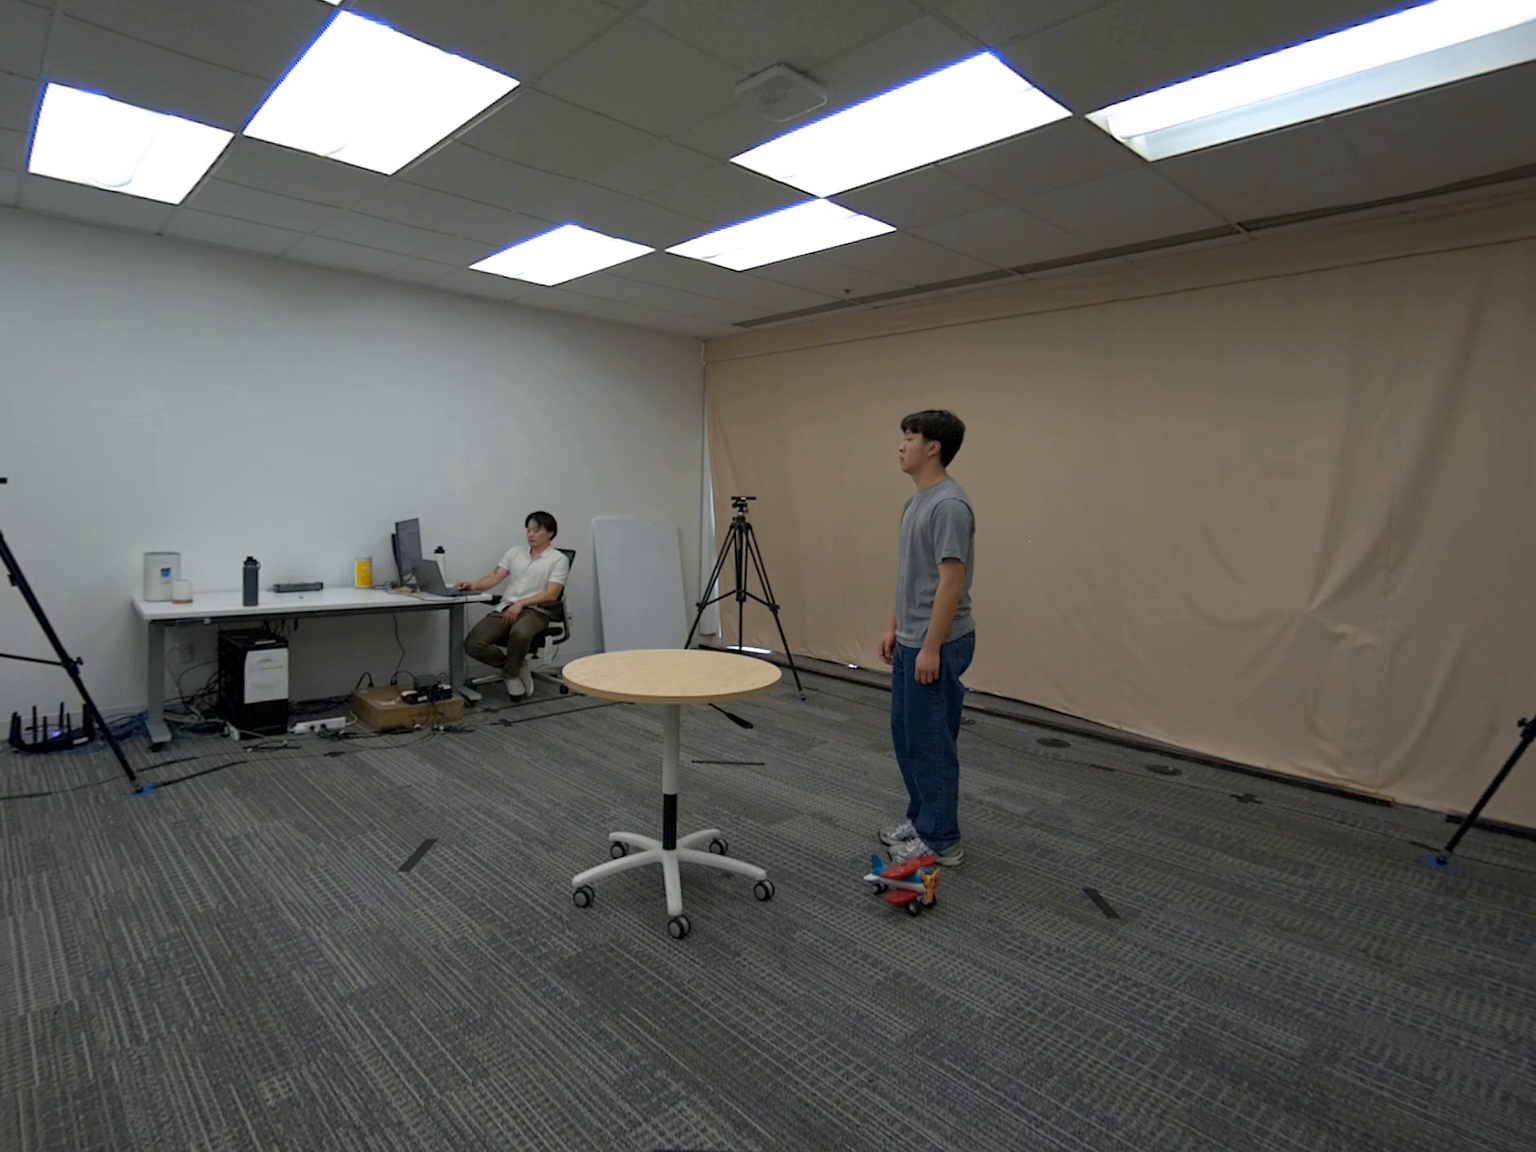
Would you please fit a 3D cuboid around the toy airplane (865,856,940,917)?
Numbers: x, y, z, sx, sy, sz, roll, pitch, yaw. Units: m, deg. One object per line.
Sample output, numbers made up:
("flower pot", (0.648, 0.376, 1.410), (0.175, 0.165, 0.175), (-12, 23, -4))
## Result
("toy airplane", (0.444, 1.063, 2.912), (0.263, 0.156, 0.247), (5, 5, 20))
